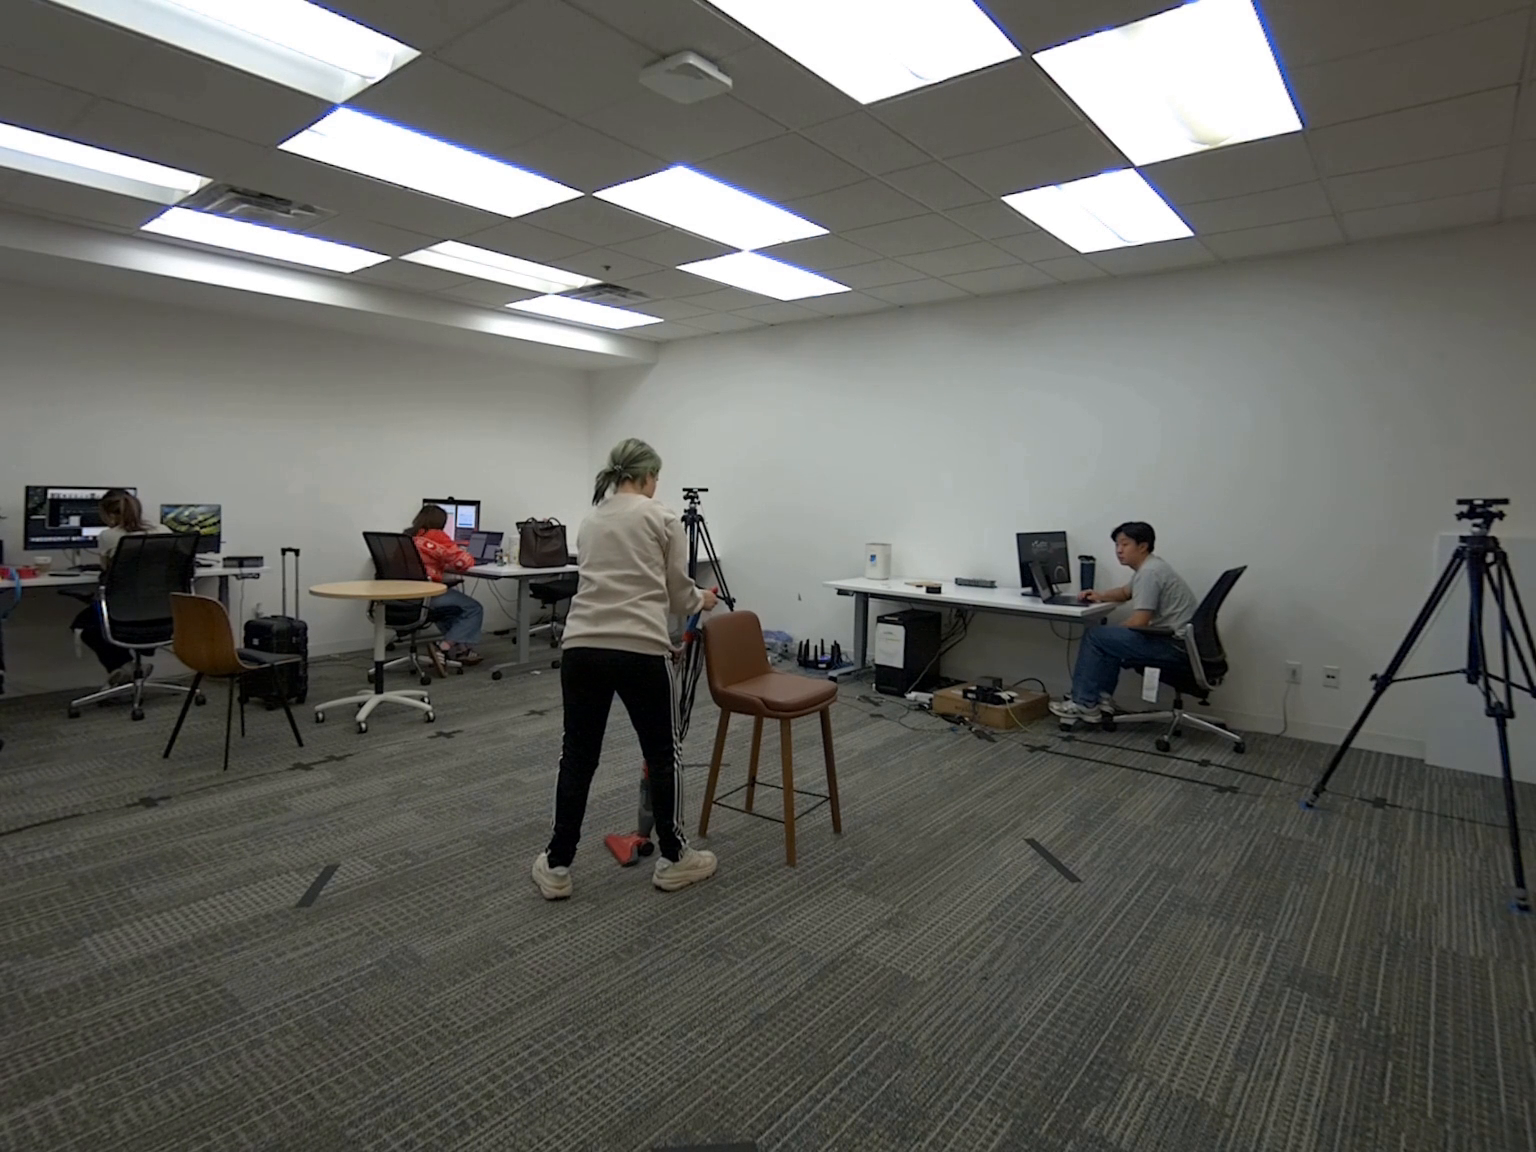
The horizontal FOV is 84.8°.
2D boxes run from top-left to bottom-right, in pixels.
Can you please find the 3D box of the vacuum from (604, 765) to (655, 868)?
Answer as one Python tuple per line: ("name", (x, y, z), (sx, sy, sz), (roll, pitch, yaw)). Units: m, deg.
("vacuum", (-0.384, 0.553, 3.293), (0.139, 1.053, 0.260), (21, -6, -30))
